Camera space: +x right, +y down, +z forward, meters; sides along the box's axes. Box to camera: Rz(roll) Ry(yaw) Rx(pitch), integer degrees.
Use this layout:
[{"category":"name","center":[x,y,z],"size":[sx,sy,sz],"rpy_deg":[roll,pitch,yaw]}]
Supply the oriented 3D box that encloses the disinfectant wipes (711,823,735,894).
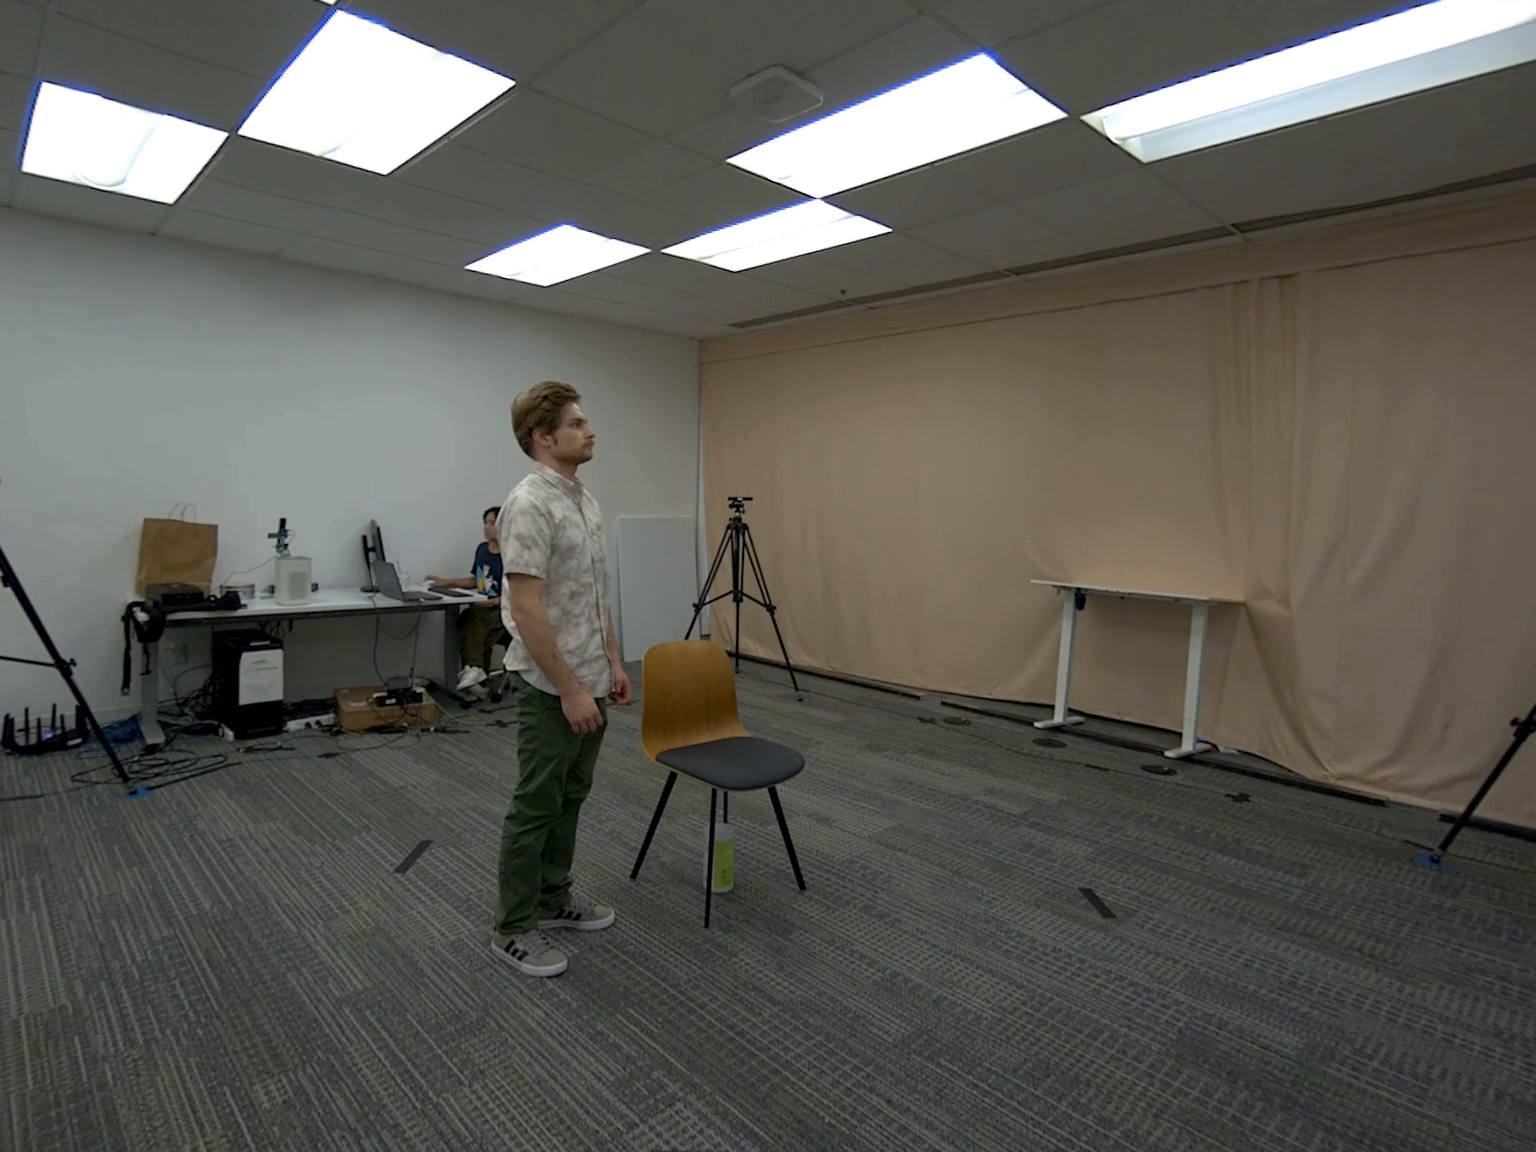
[{"category":"disinfectant wipes","center":[-0.186,1.020,3.007],"size":[0.118,0.217,0.118],"rpy_deg":[0,1,-1]}]
